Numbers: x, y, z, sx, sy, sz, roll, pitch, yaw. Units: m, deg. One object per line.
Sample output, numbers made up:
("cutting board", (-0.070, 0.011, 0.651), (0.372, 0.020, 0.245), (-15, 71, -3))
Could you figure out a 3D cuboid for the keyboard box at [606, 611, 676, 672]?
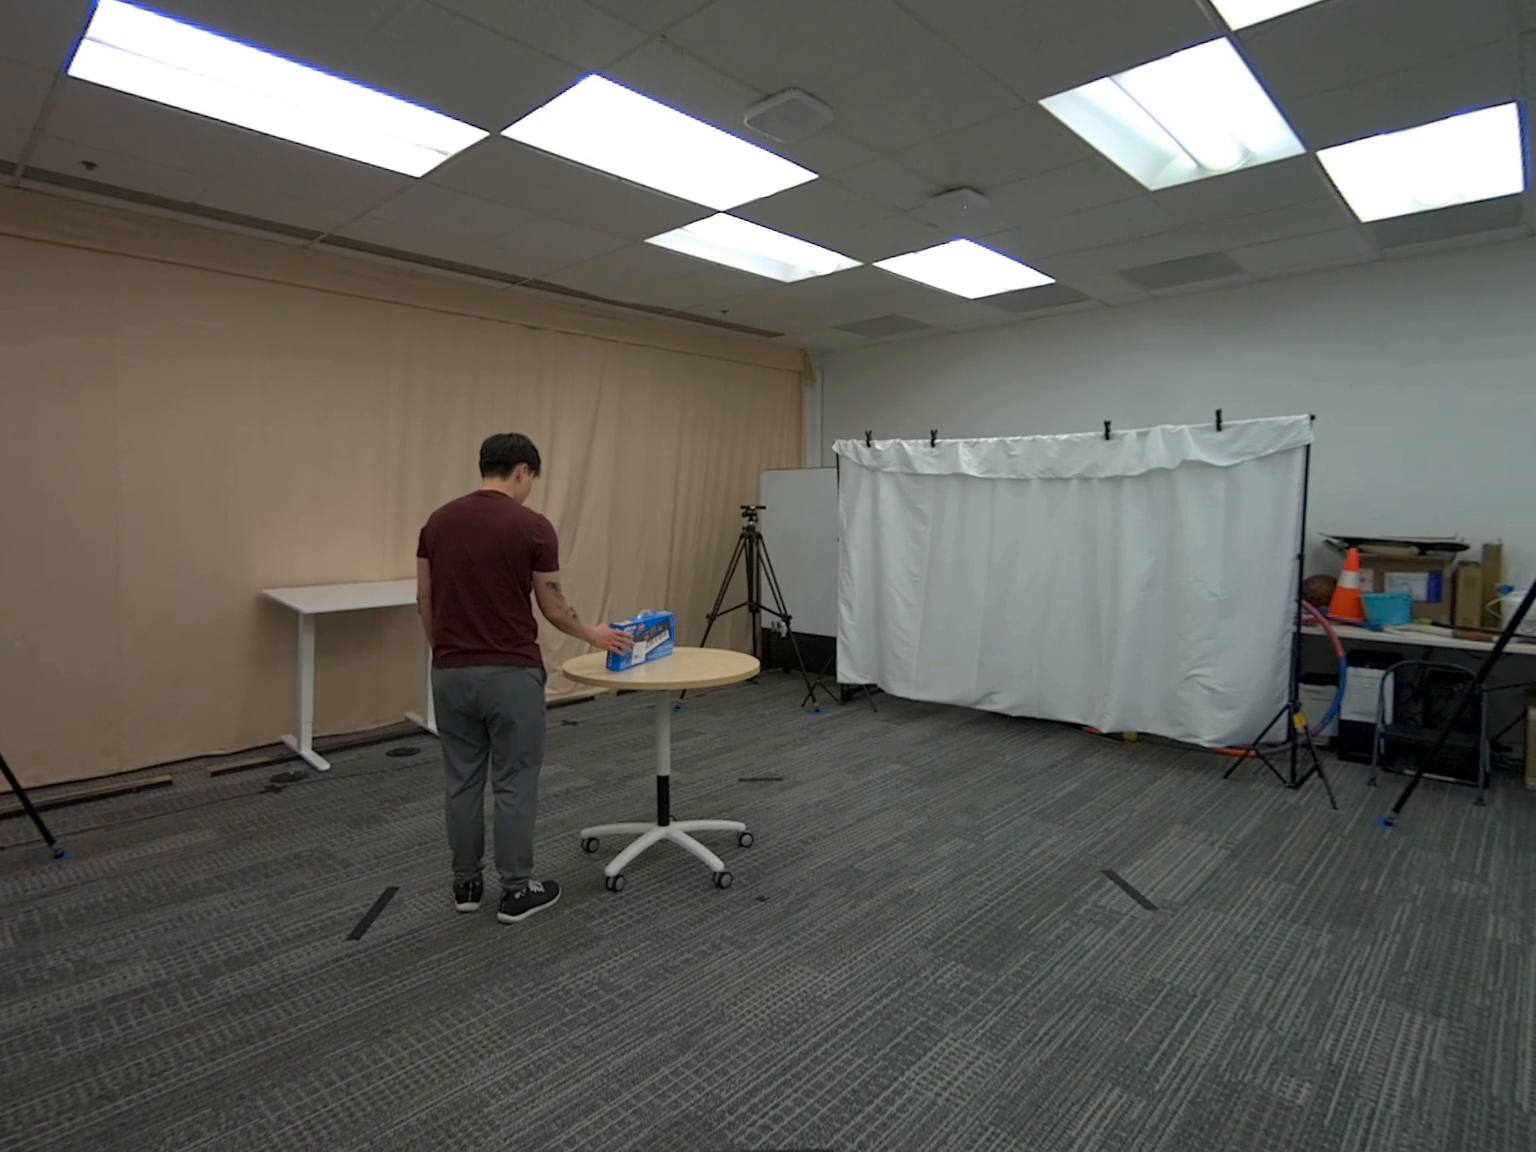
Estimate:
("keyboard box", (-0.492, 0.251, 3.313), (0.060, 0.175, 0.428), (8, 6, 20))
